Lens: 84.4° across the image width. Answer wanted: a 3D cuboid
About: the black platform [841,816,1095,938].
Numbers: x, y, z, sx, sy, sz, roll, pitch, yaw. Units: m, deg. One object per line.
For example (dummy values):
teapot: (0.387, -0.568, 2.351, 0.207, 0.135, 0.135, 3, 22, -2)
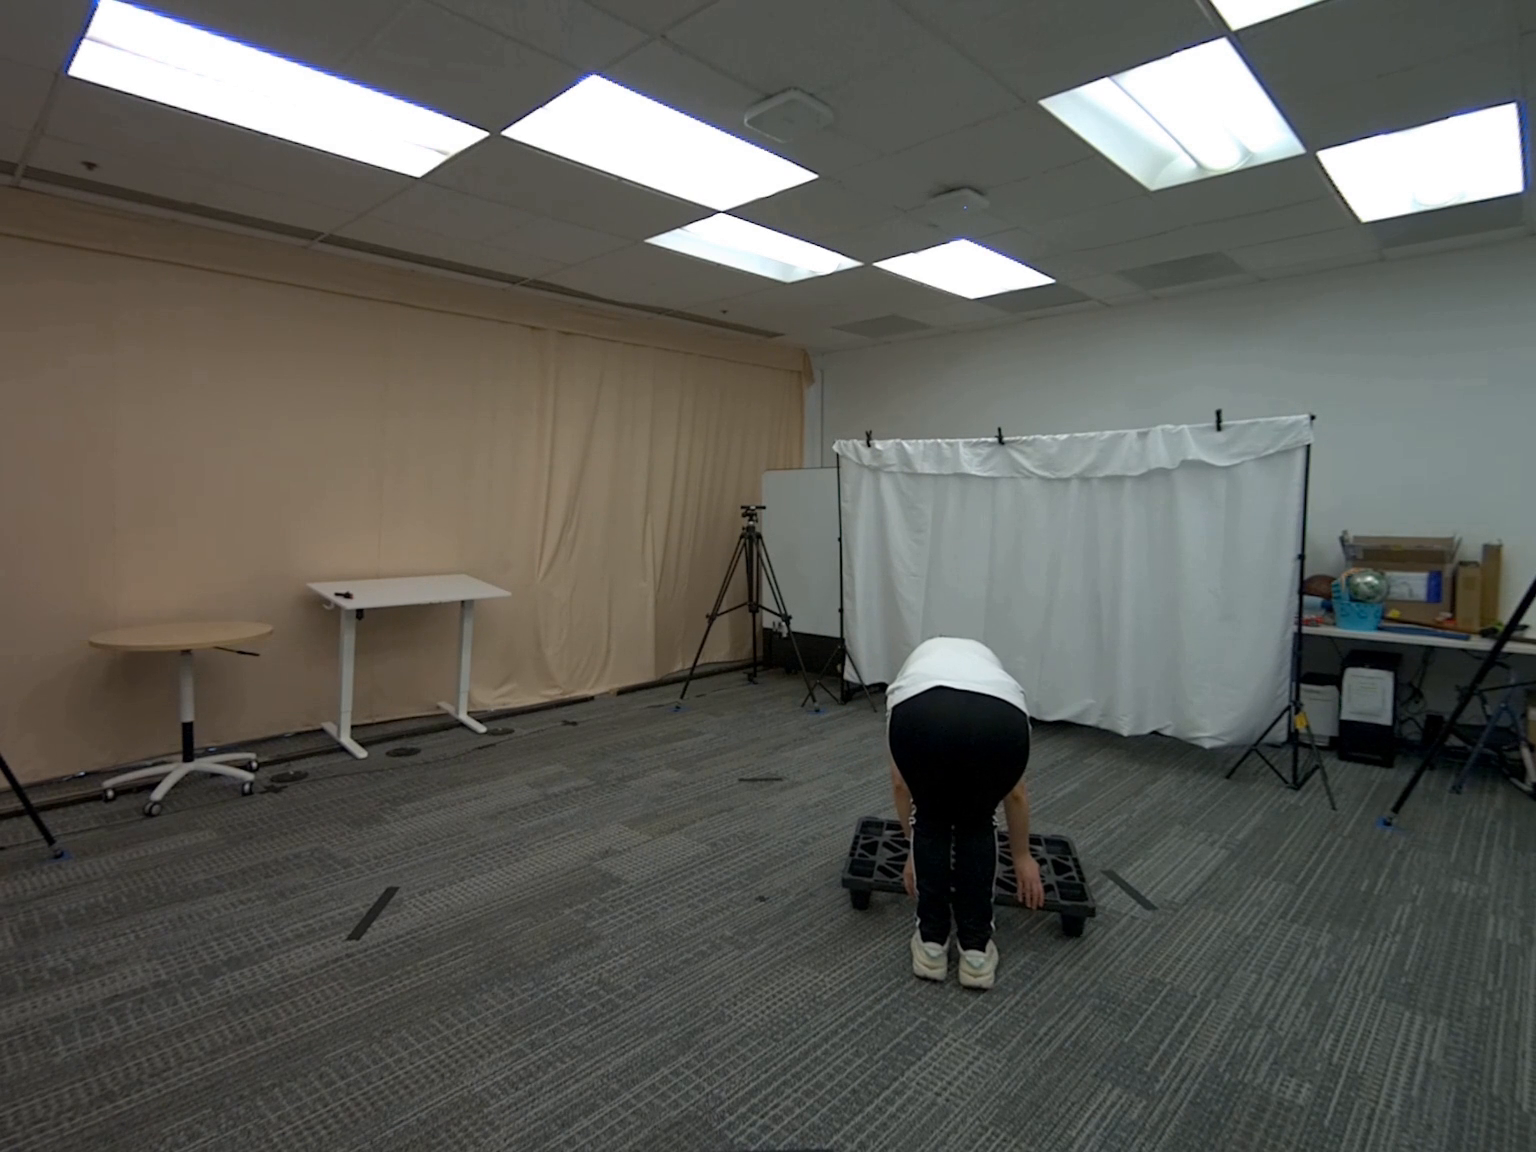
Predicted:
black platform: (0.698, 1.067, 3.026, 0.819, 0.143, 0.596, 1, 4, 14)
